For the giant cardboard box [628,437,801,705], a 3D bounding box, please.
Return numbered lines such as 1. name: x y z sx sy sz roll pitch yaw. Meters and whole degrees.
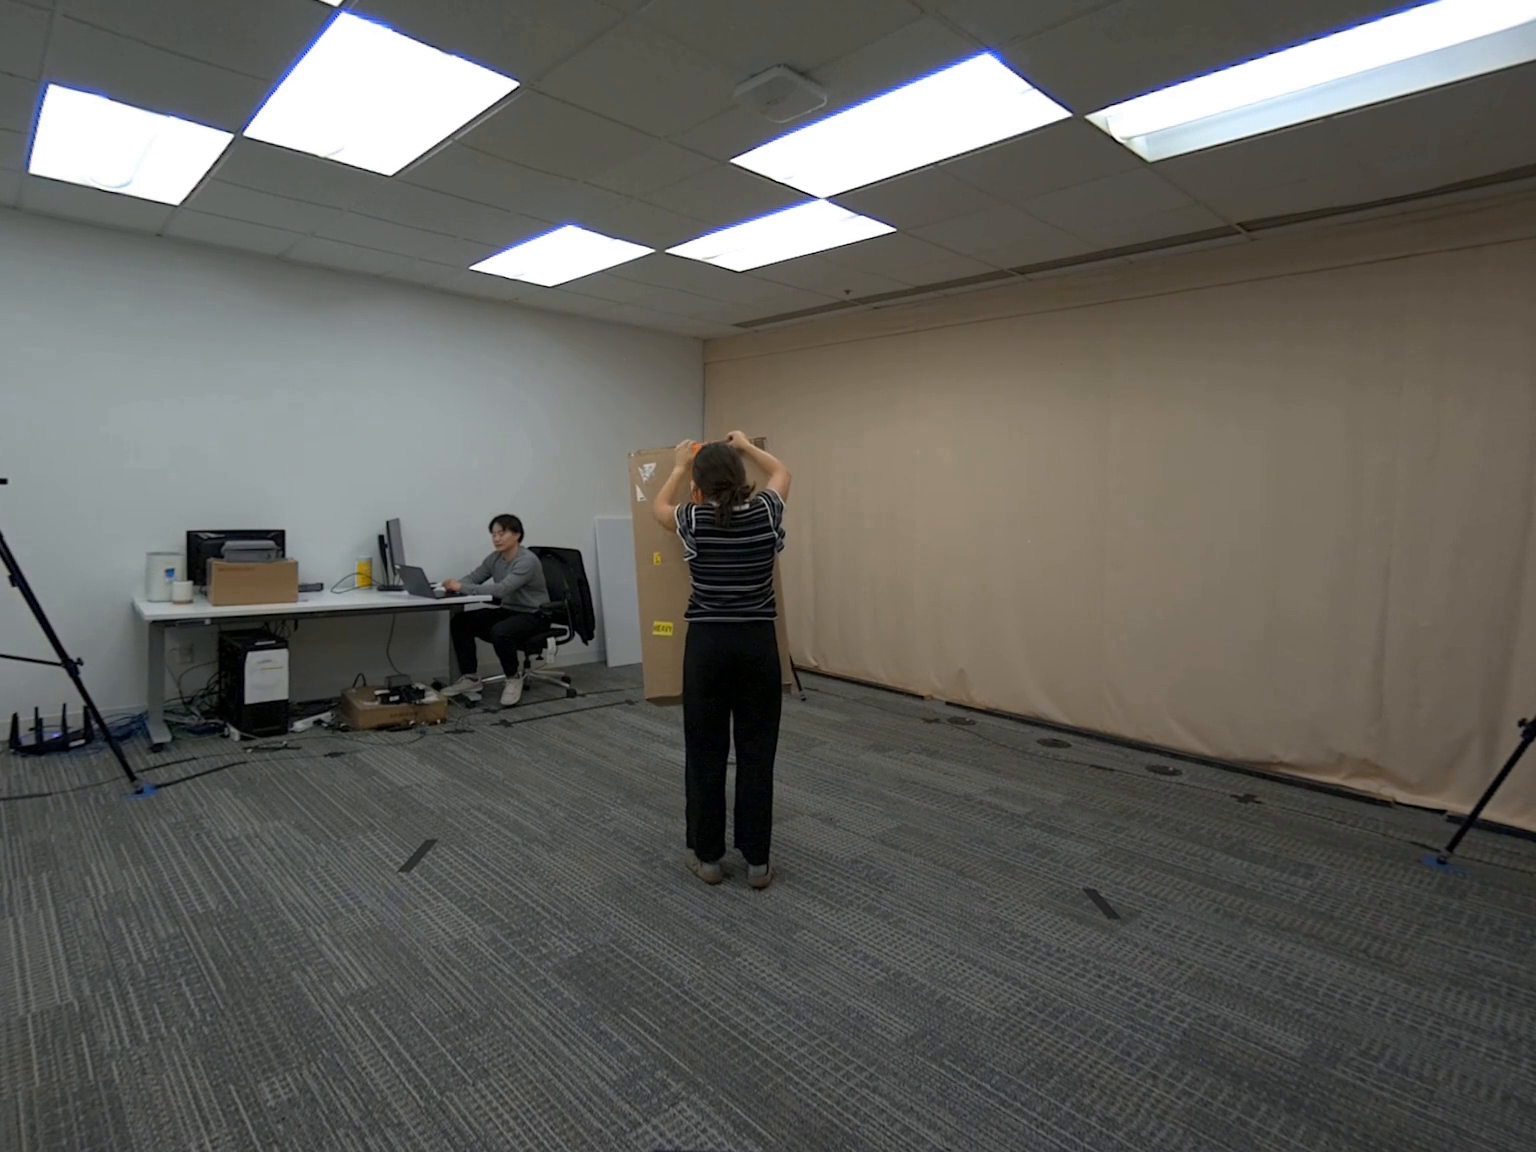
1. giant cardboard box: -0.243 -0.008 3.550 0.579 1.038 0.420 -7 -15 3
